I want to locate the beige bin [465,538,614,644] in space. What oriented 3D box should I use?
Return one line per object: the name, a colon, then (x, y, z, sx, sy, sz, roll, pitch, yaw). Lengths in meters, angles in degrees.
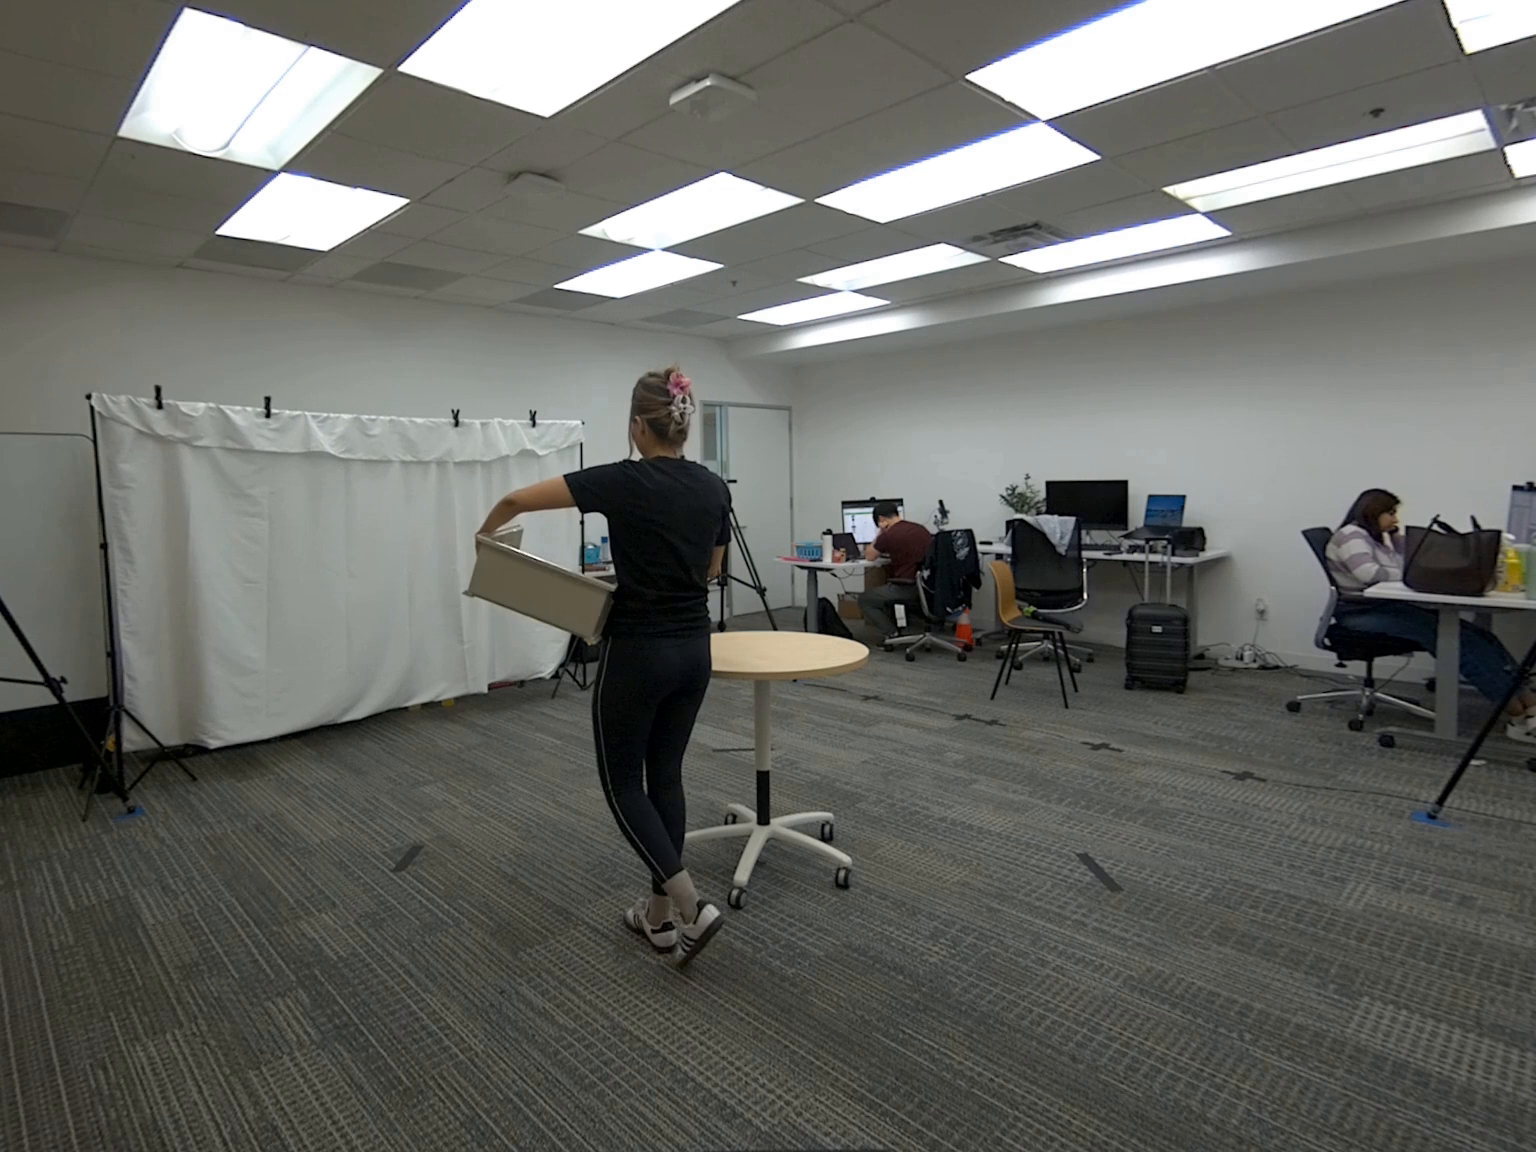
beige bin: (-0.645, 0.016, 2.580, 0.424, 0.188, 0.378, 21, 10, 2)
